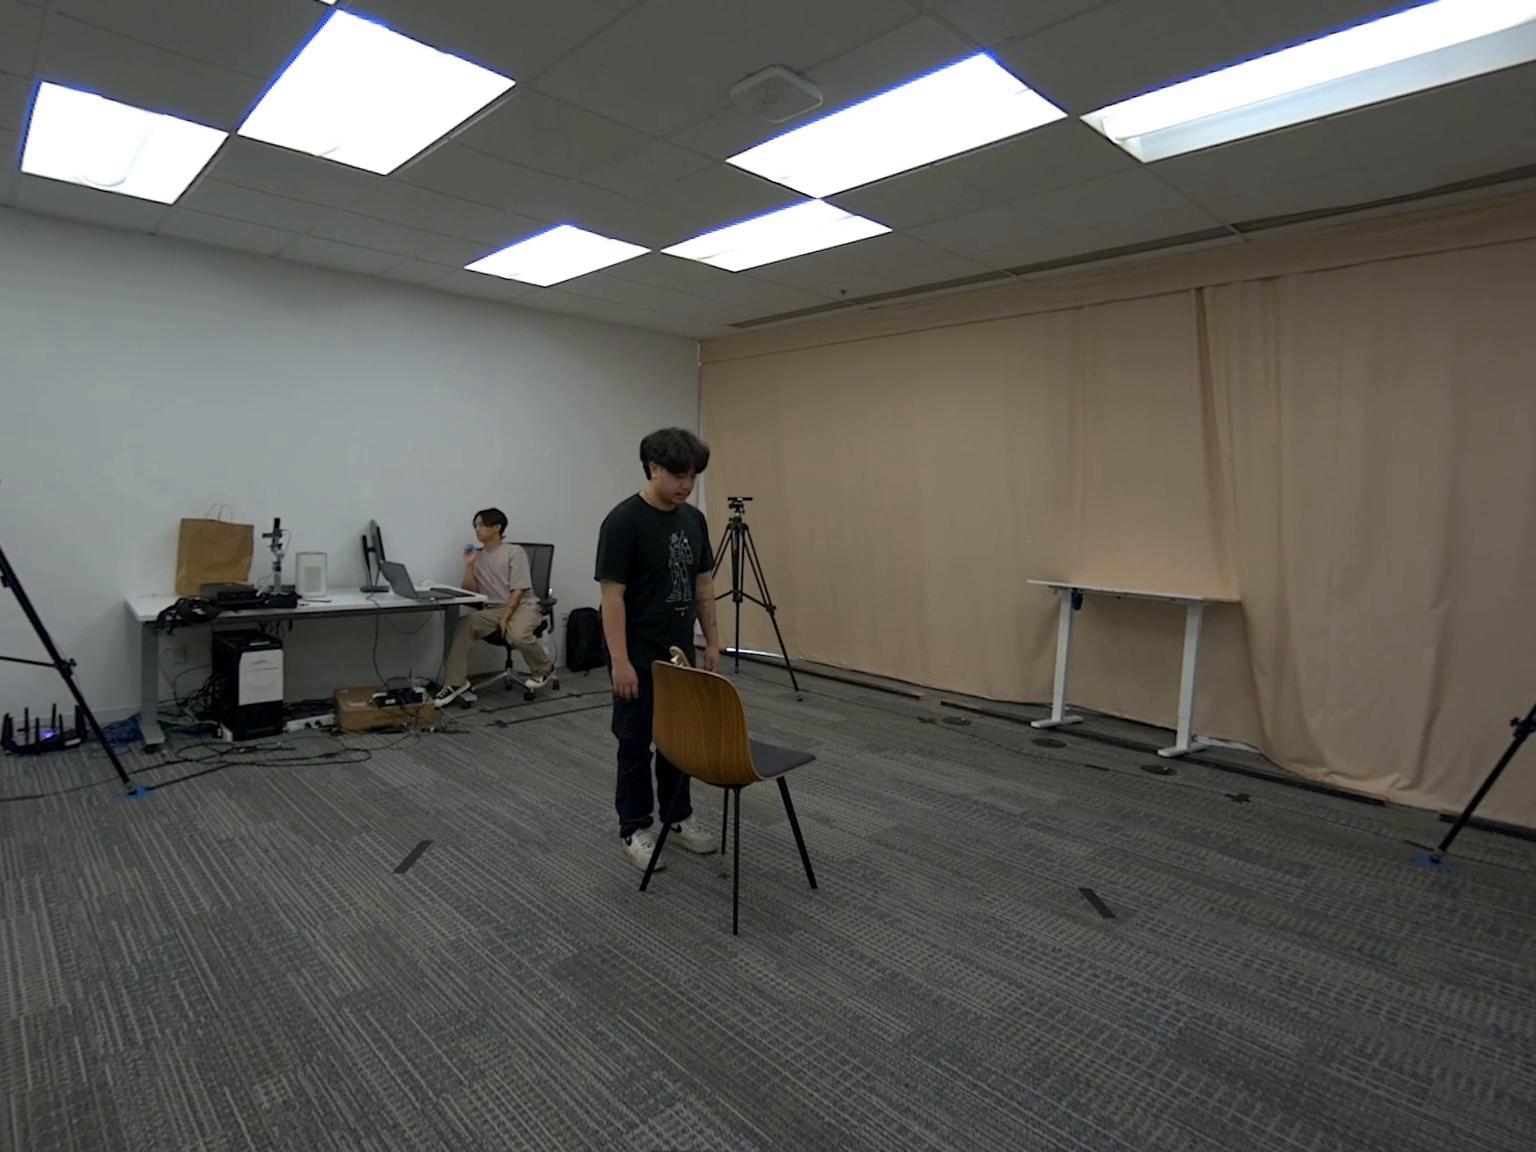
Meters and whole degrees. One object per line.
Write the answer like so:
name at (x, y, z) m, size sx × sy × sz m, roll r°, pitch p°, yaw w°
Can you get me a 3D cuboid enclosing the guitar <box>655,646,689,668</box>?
guitar at (-0.245, 0.439, 2.886) m, size 0.198 × 0.486 × 0.070 m, roll 3°, pitch 39°, yaw 45°
